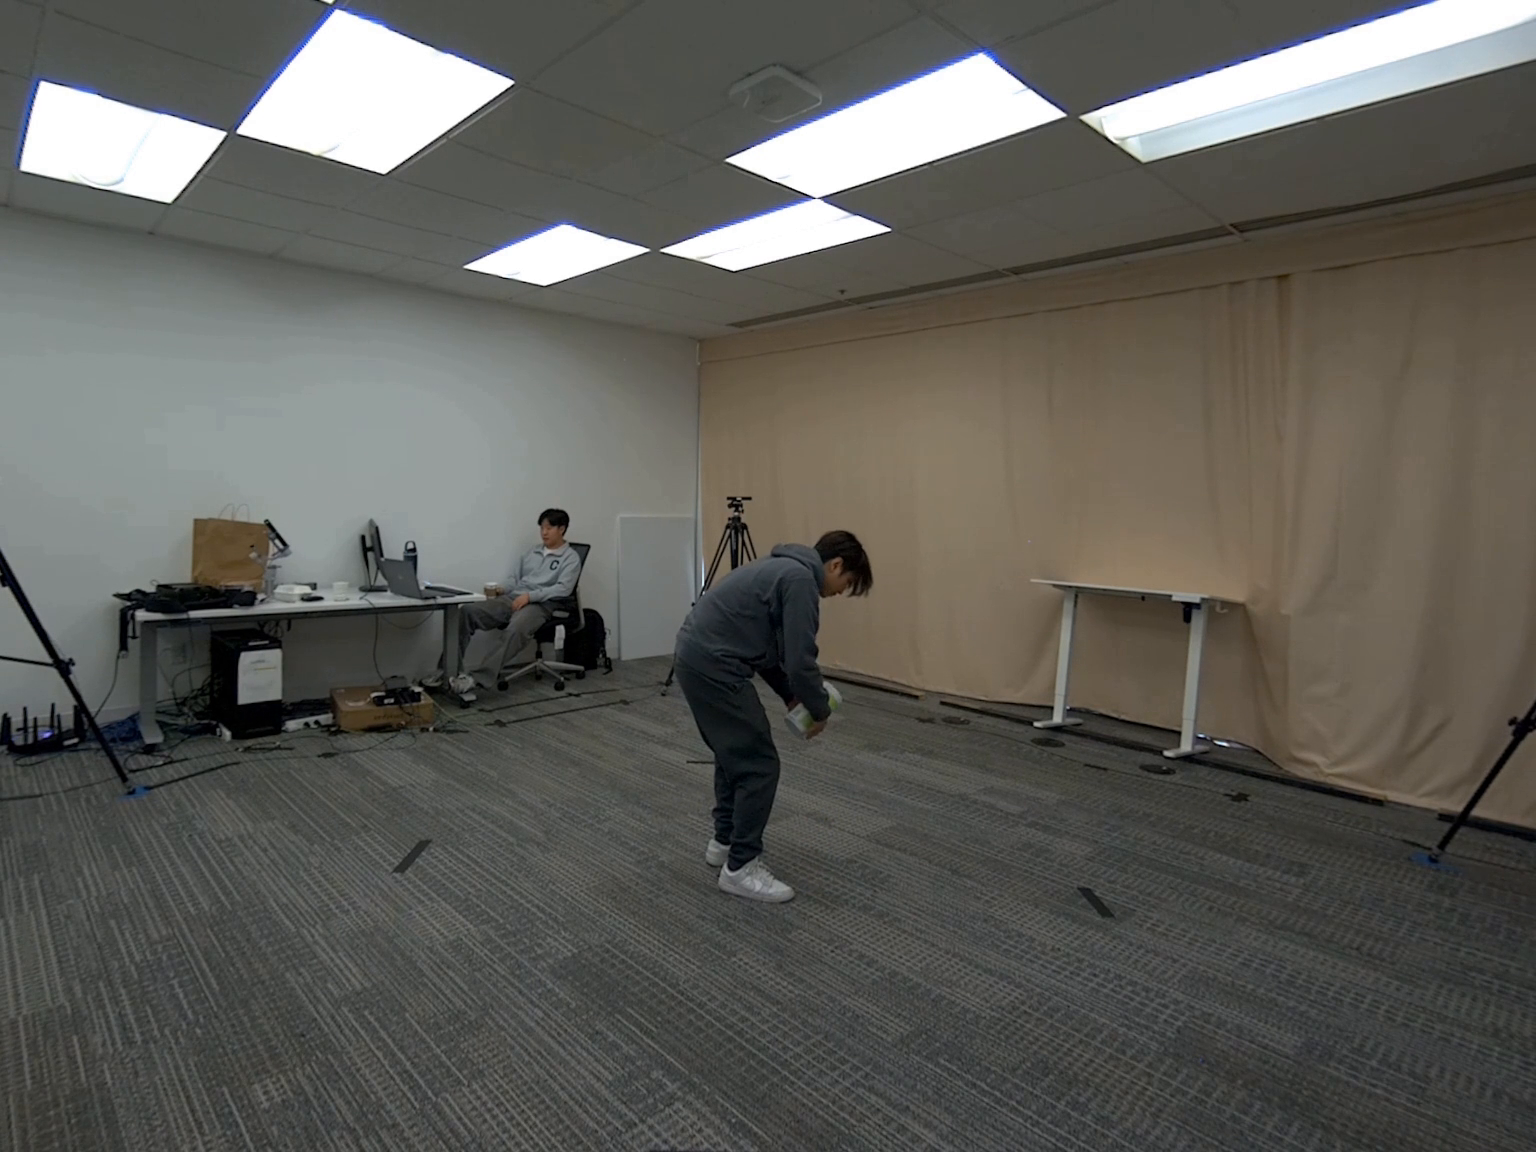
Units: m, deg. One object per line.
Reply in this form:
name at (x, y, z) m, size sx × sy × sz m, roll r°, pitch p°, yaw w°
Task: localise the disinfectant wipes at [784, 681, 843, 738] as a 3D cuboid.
disinfectant wipes at (0.160, 0.502, 3.174) m, size 0.217 × 0.116 × 0.120 m, roll -37°, pitch 18°, yaw -17°
